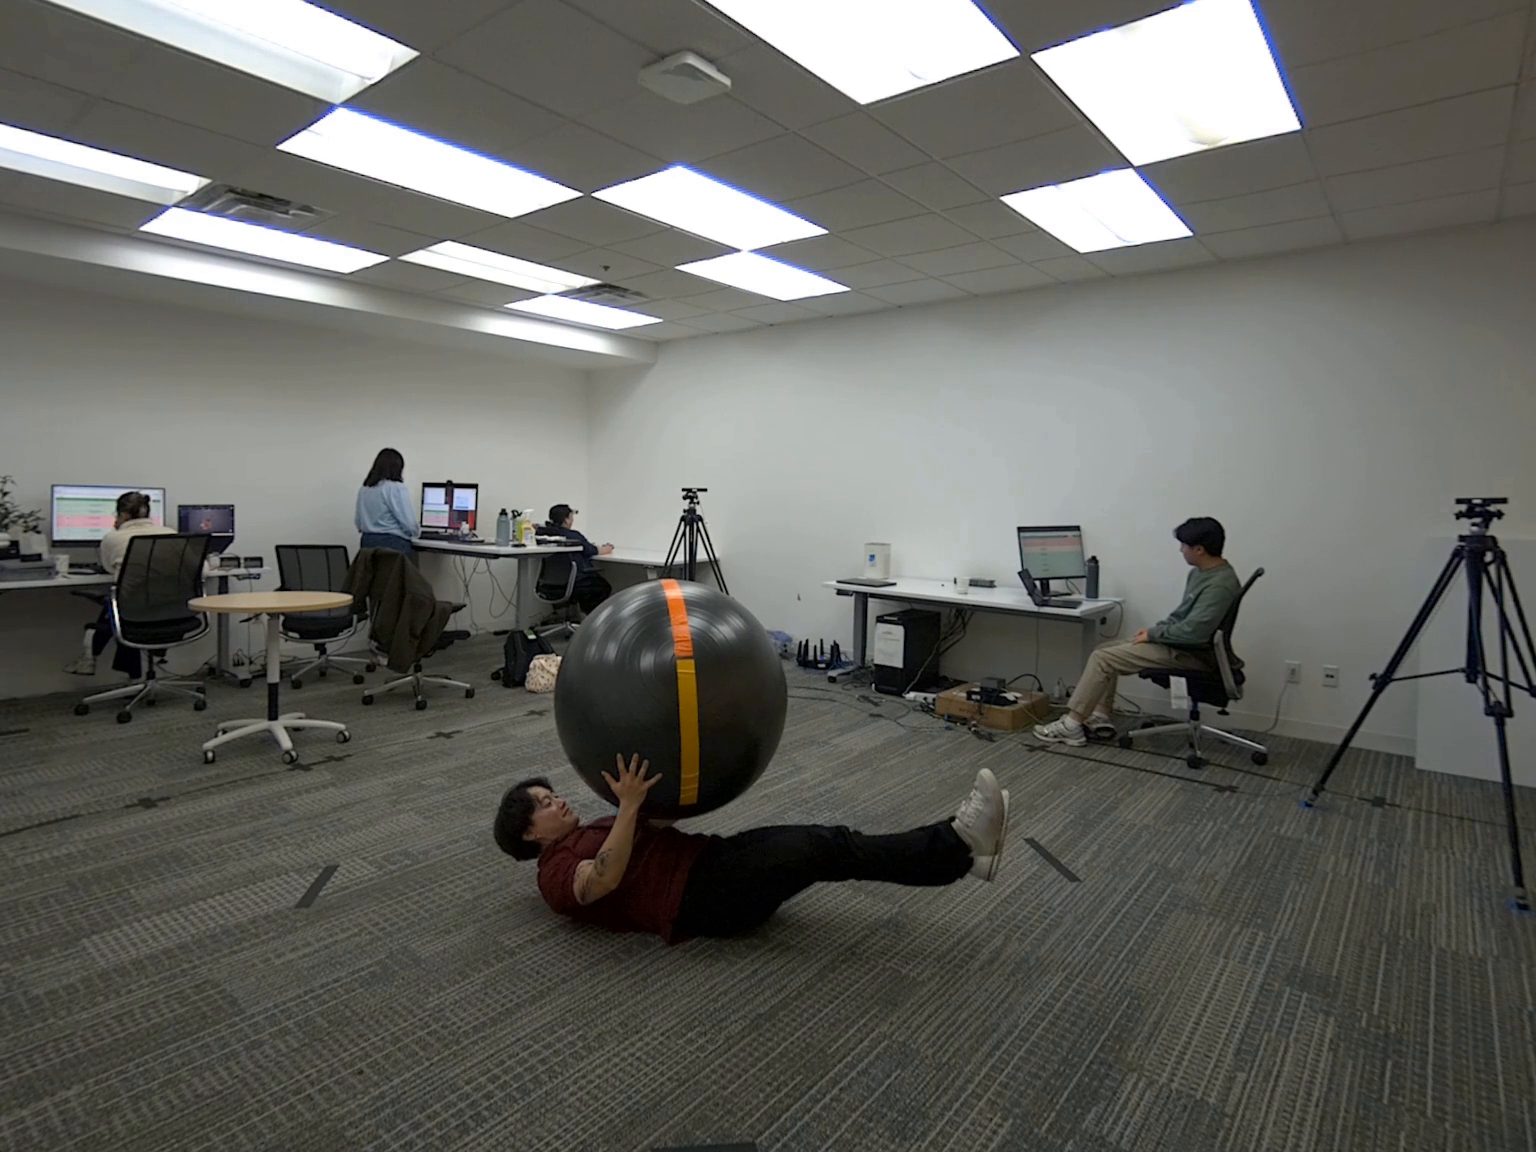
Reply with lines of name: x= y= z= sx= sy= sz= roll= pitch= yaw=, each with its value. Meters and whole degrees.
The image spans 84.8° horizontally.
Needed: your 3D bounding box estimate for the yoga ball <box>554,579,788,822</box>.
yoga ball: x=-0.315 y=0.395 z=2.767 sx=0.757 sy=0.755 sz=0.762 roll=1 pitch=4 yaw=-2
